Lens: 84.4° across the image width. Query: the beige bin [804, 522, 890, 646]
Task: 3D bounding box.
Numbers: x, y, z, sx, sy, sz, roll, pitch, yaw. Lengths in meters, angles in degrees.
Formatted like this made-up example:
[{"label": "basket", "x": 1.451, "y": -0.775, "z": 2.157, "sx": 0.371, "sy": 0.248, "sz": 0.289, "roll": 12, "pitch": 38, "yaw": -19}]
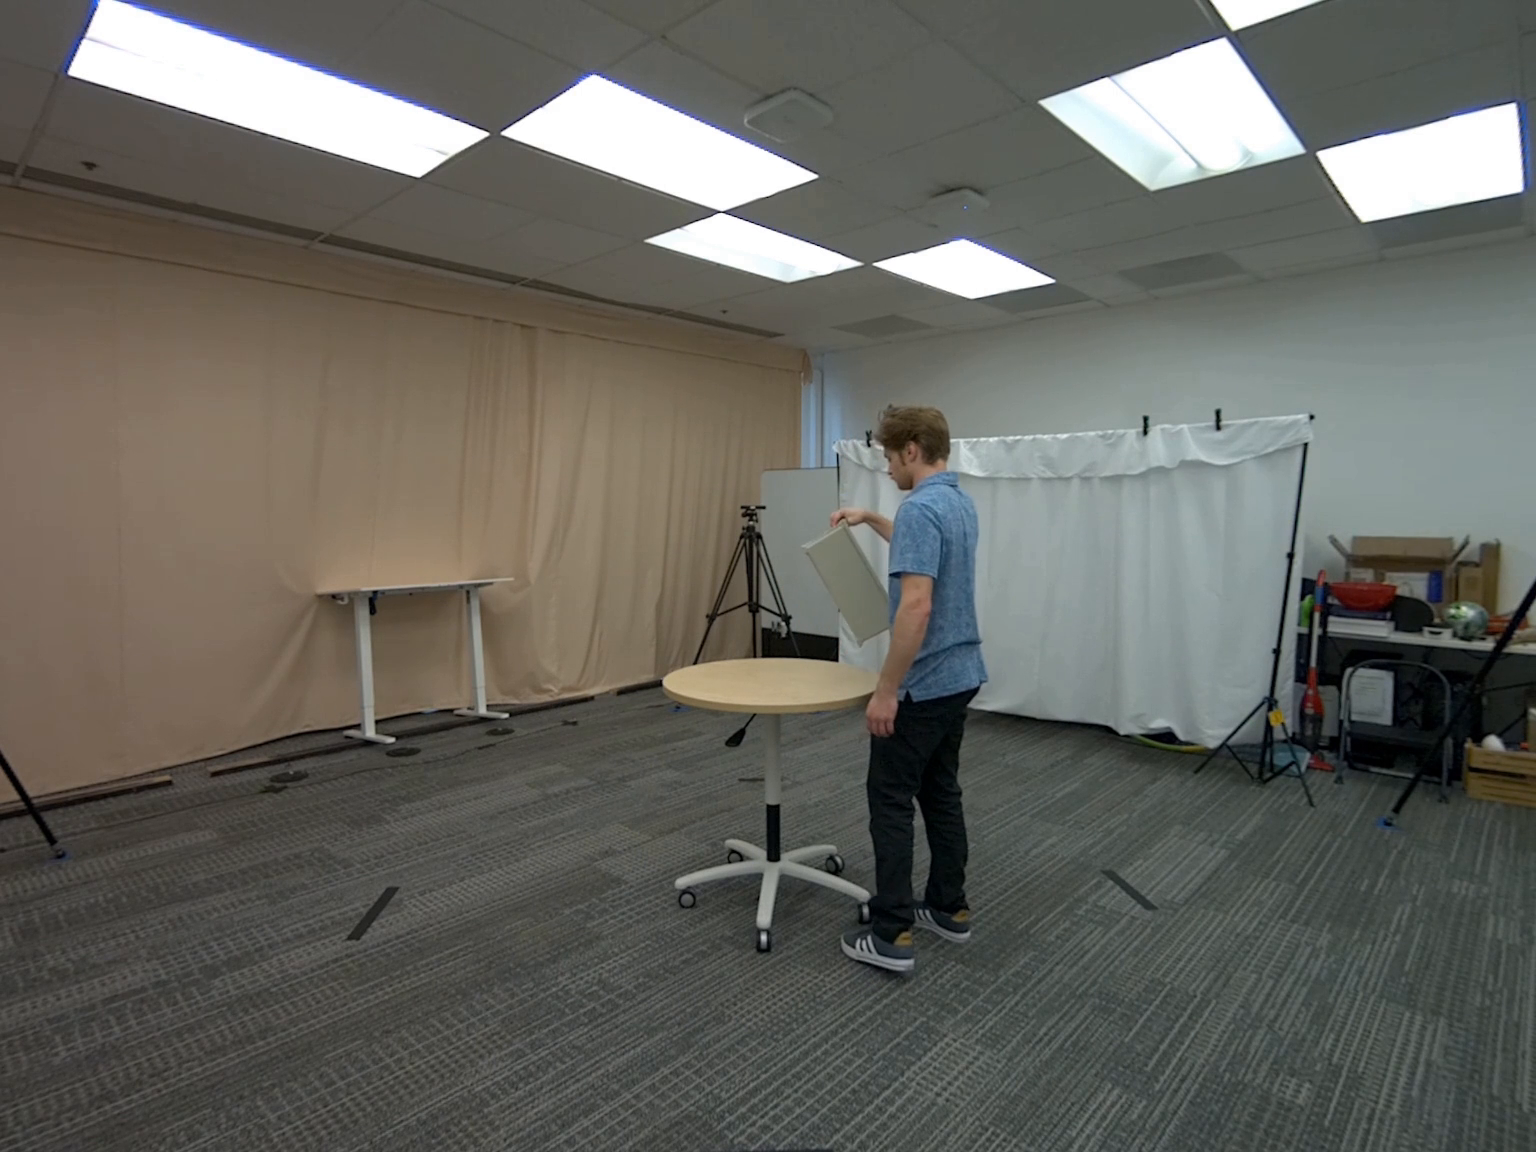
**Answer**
[{"label": "beige bin", "x": 0.328, "y": 0.013, "z": 3.115, "sx": 0.191, "sy": 0.423, "sz": 0.373, "roll": -31, "pitch": -1, "yaw": 15}]
